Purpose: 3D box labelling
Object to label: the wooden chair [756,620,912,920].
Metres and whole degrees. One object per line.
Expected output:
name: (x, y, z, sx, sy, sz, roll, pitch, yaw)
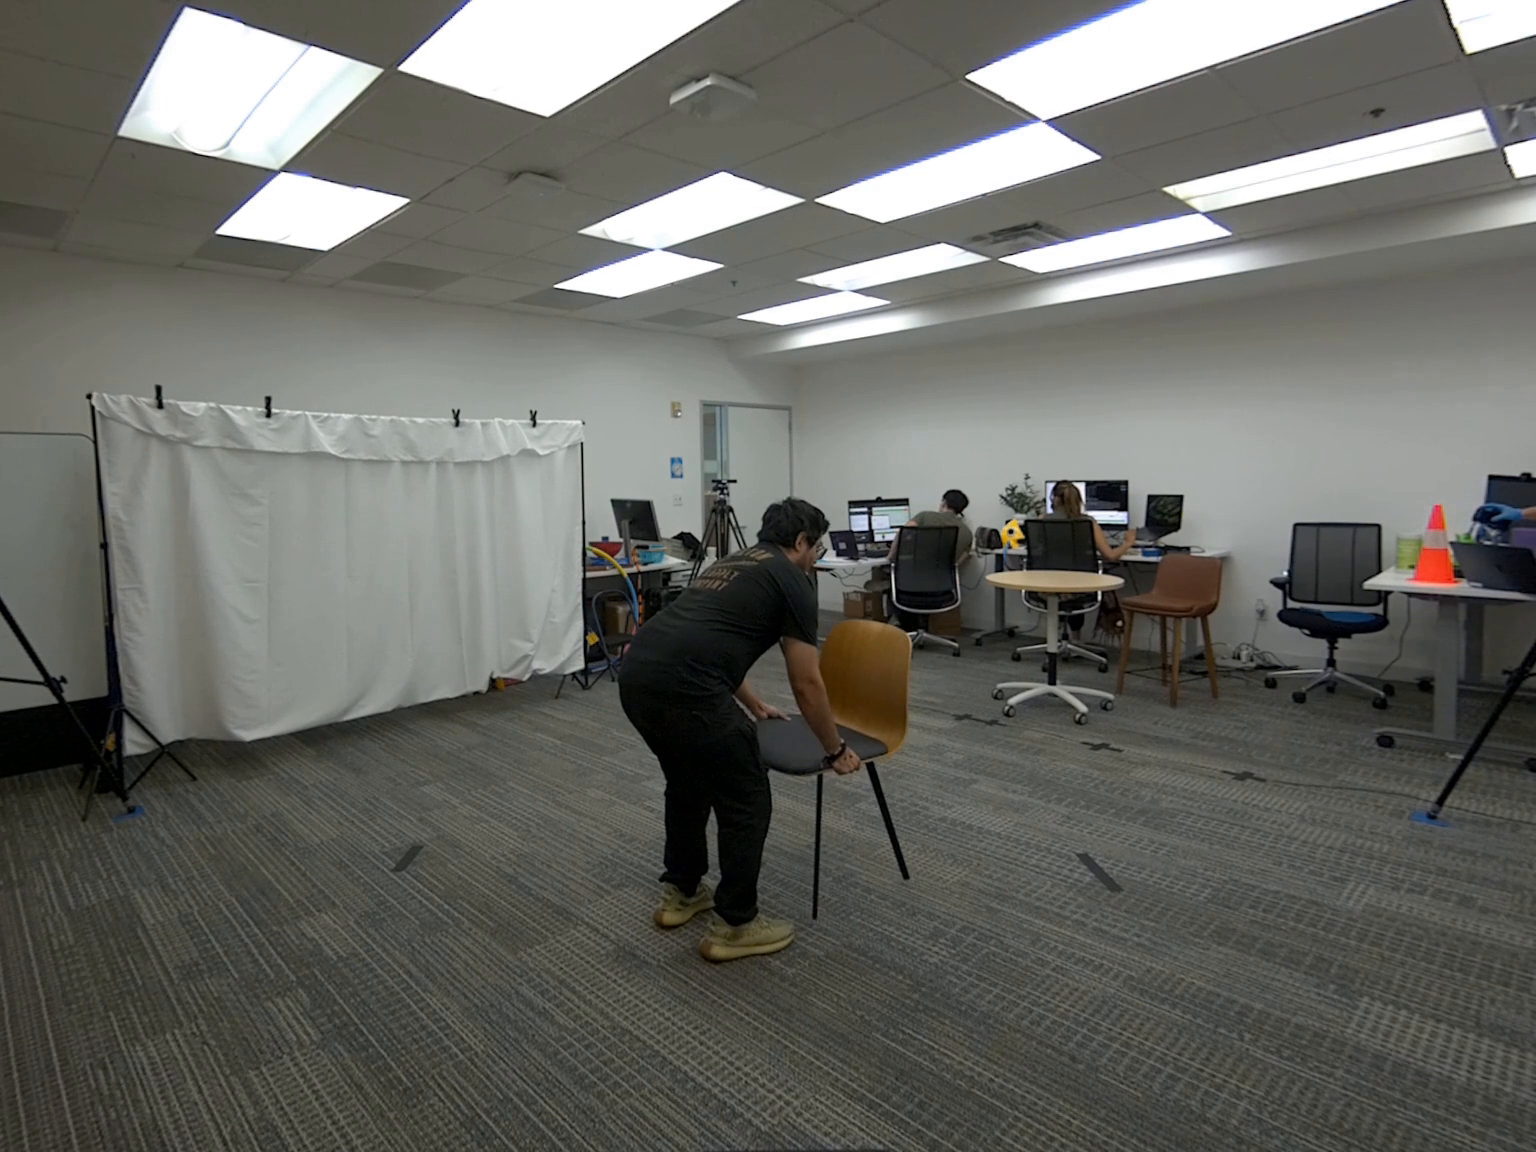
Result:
wooden chair: (0.181, 0.598, 2.919, 0.508, 0.875, 0.494, 2, 5, -39)
